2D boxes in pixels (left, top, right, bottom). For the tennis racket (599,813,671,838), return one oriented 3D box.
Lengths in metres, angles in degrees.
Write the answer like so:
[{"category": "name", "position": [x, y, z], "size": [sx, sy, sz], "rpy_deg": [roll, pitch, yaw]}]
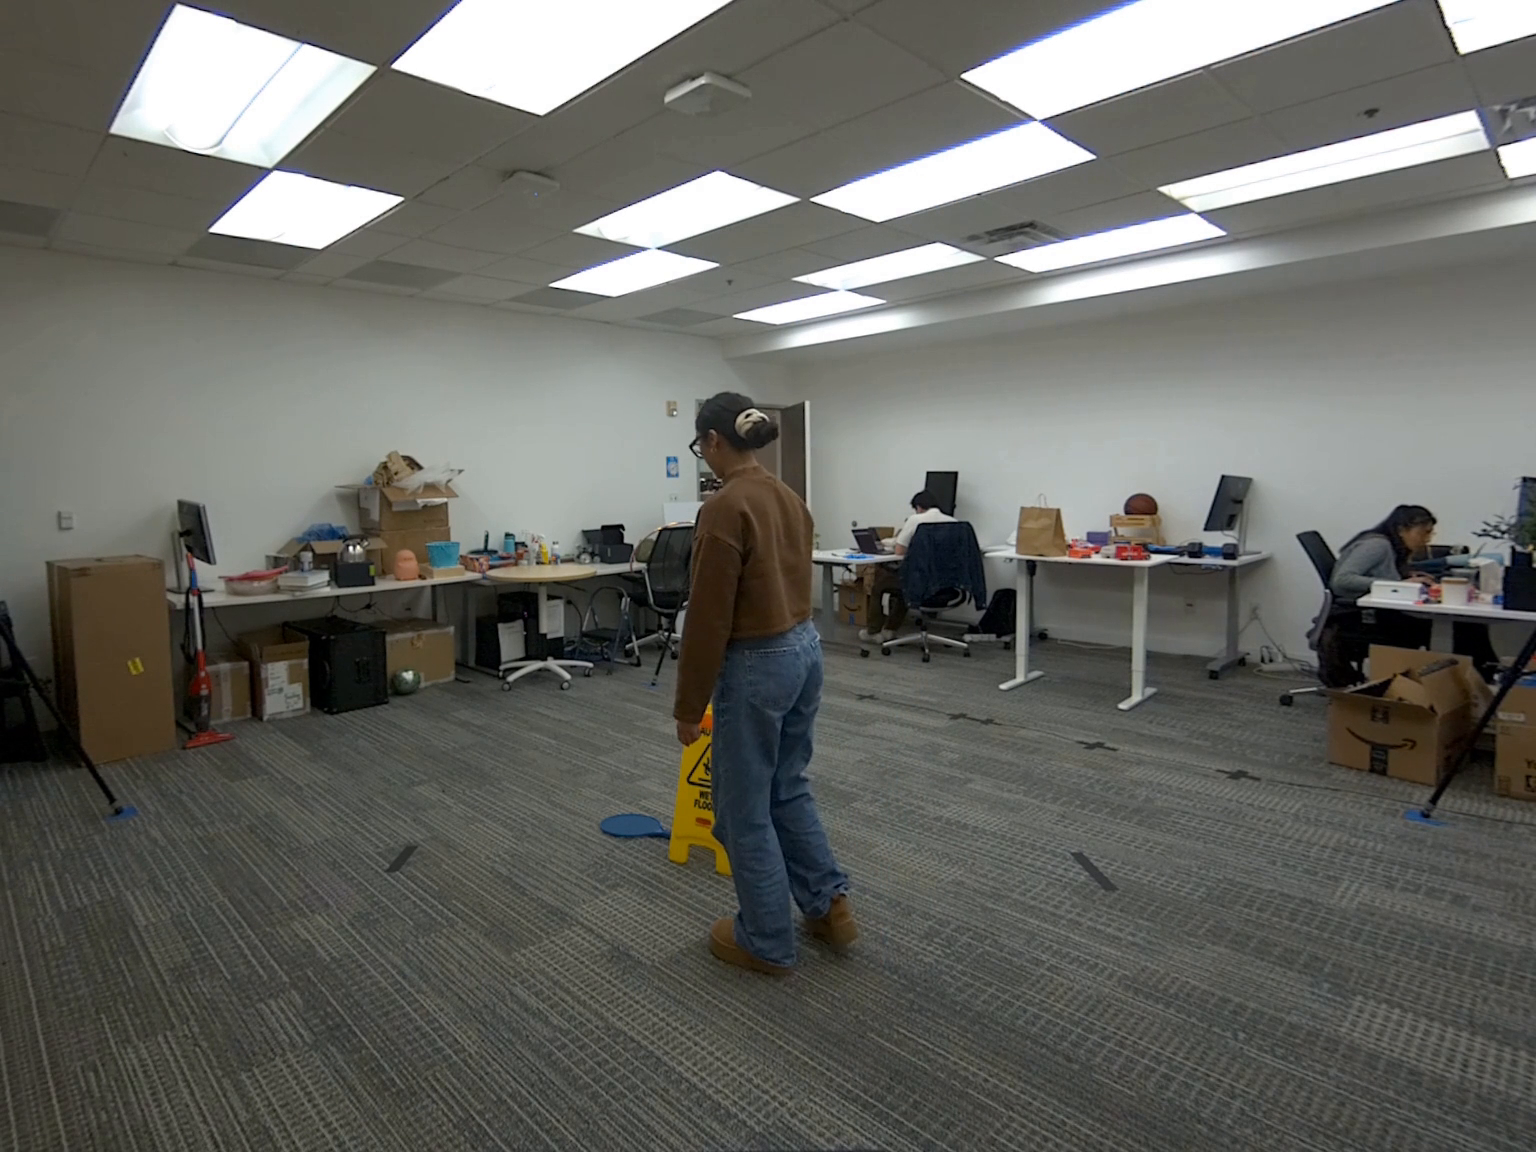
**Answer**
[{"category": "tennis racket", "position": [-0.478, 1.003, 3.395], "size": [0.445, 0.031, 0.208], "rpy_deg": [1, 6, 35]}]
